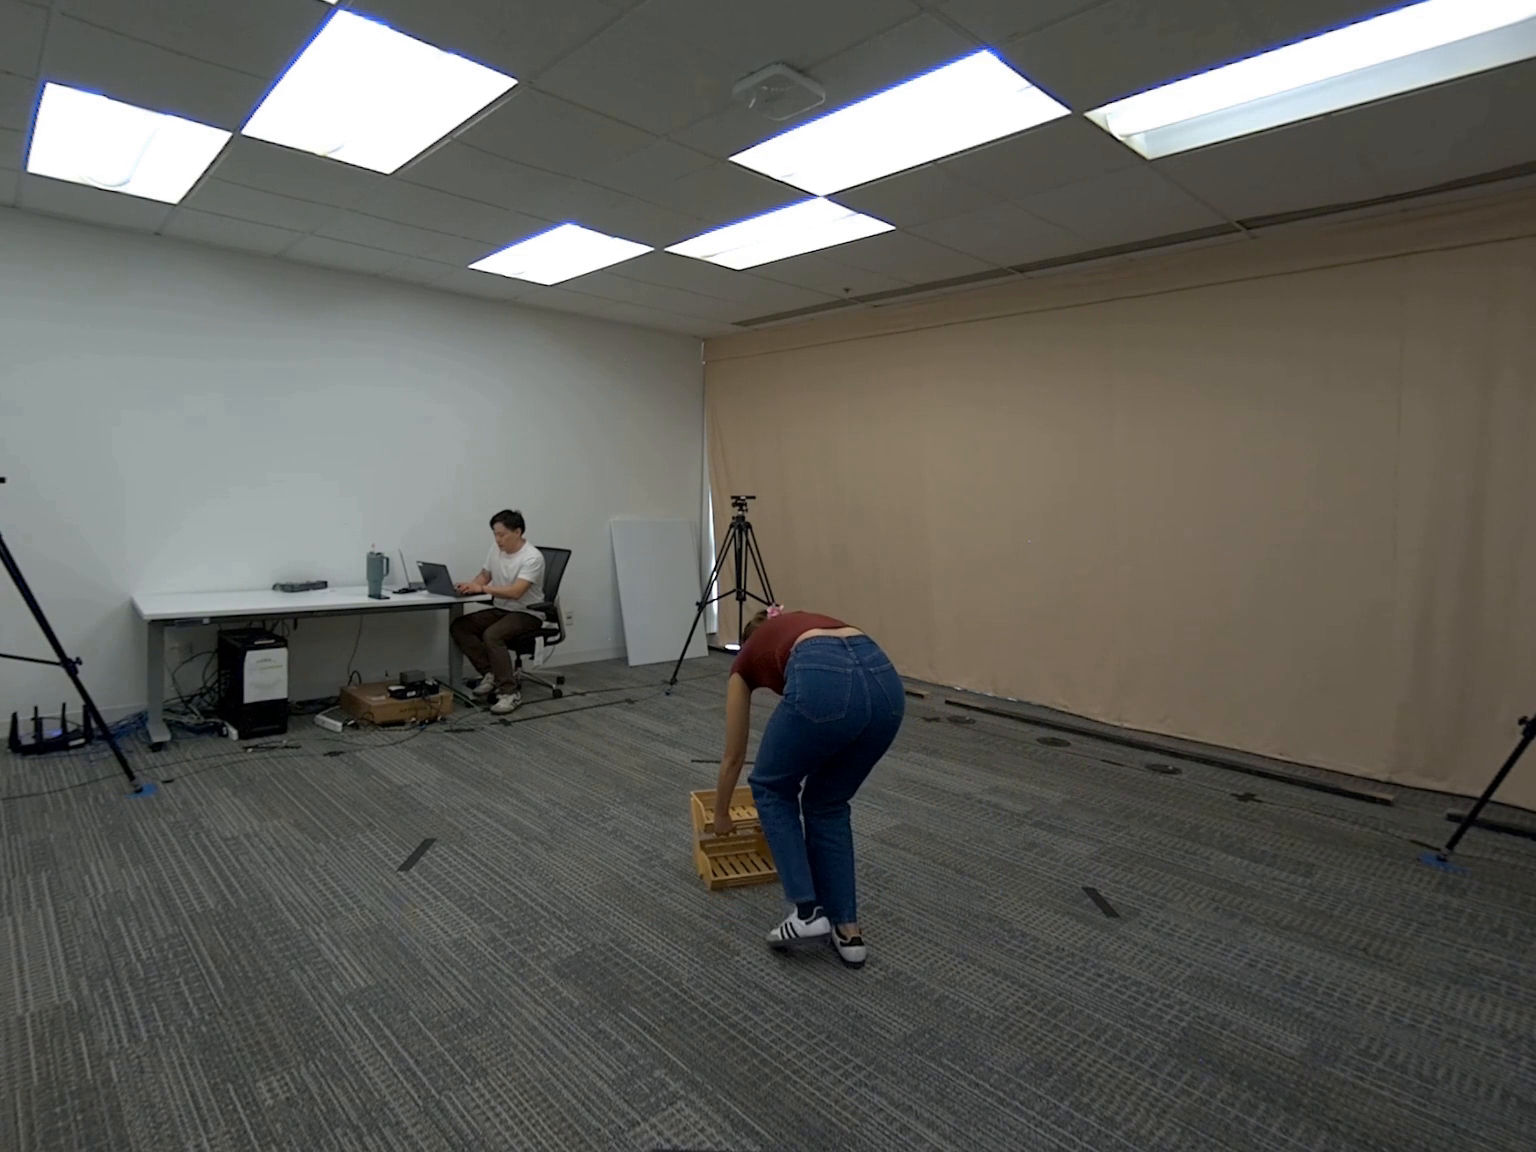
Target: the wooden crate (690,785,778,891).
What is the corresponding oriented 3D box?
[{"bbox_3d":[-0.118,0.966,3.137,0.319,0.273,0.307,0,4,-21],"label":"wooden crate"}]
